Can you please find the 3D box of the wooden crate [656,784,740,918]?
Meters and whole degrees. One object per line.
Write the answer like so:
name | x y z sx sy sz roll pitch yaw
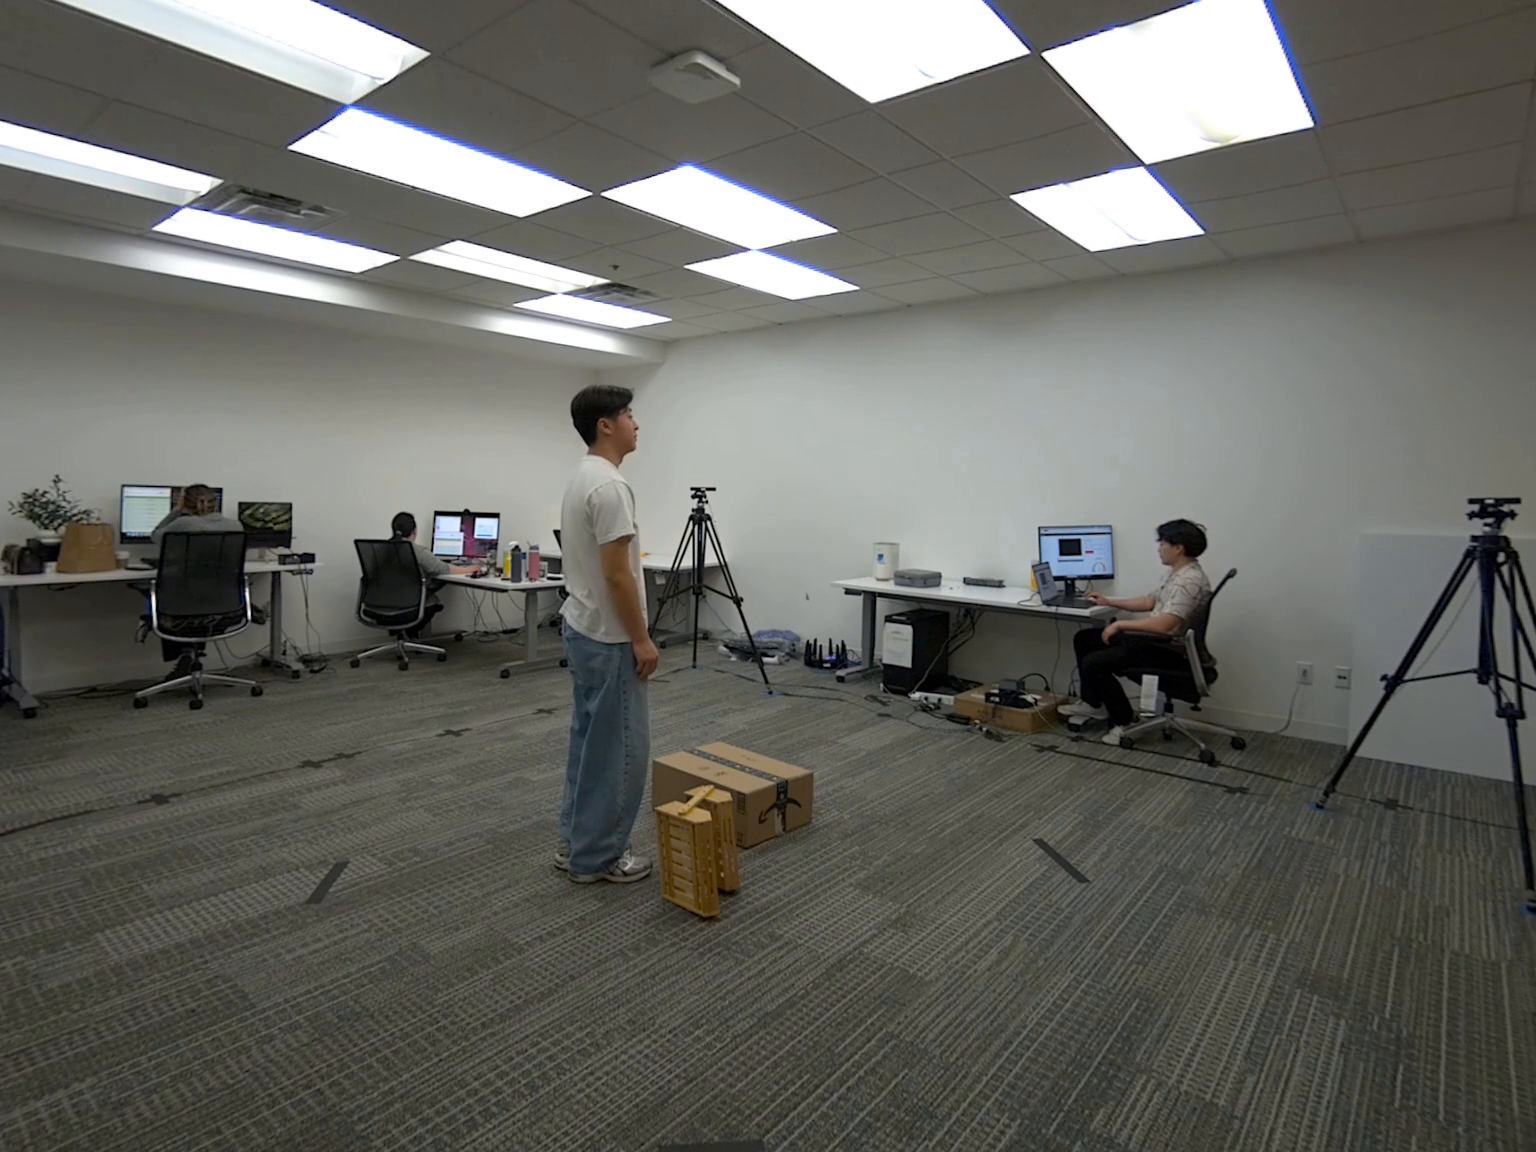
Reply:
wooden crate | -0.219 0.920 2.895 0.266 0.324 0.311 -8 4 -43
